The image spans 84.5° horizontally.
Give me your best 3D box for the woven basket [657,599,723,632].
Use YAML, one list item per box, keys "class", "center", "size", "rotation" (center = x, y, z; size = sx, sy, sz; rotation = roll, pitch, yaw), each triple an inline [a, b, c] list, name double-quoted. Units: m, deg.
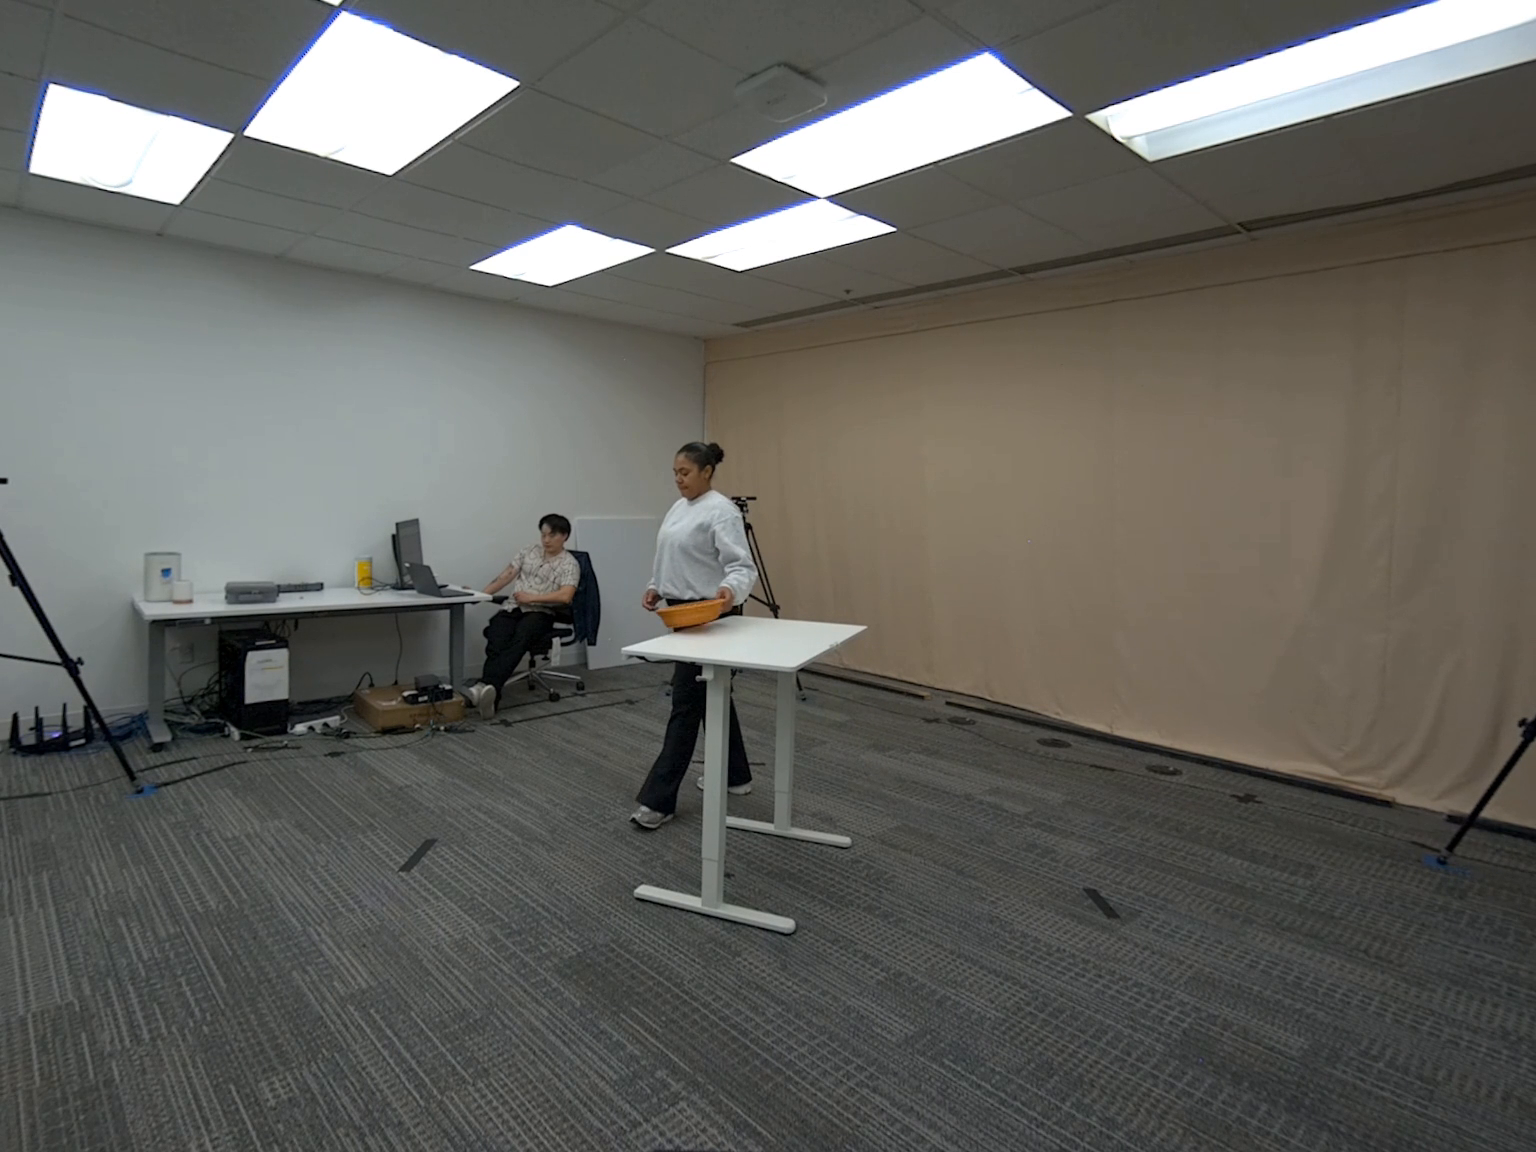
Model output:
- class: "woven basket"
  center: [-0.313, 0.153, 3.273]
  size: [0.256, 0.073, 0.345]
  rotation: [-7, 2, 24]
